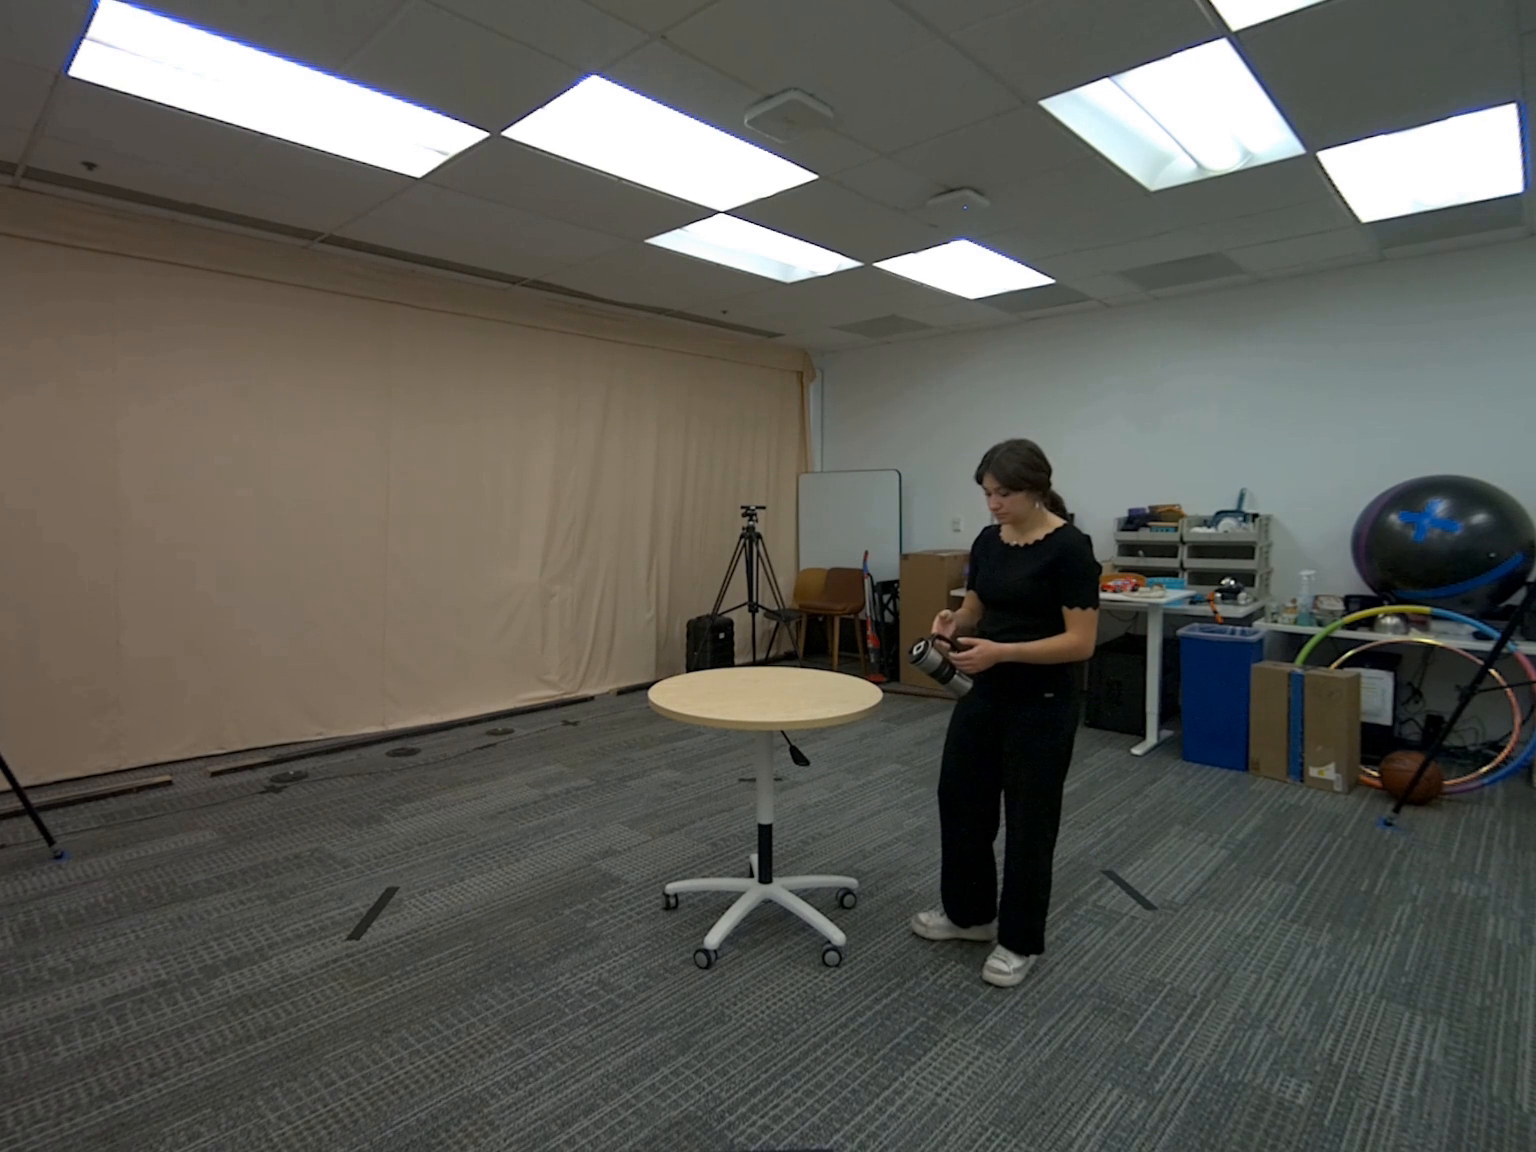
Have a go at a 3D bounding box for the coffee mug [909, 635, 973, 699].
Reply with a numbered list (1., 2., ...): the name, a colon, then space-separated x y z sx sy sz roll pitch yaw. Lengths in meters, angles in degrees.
1. coffee mug: 0.519 0.272 2.389 0.123 0.201 0.088 -46 9 42
